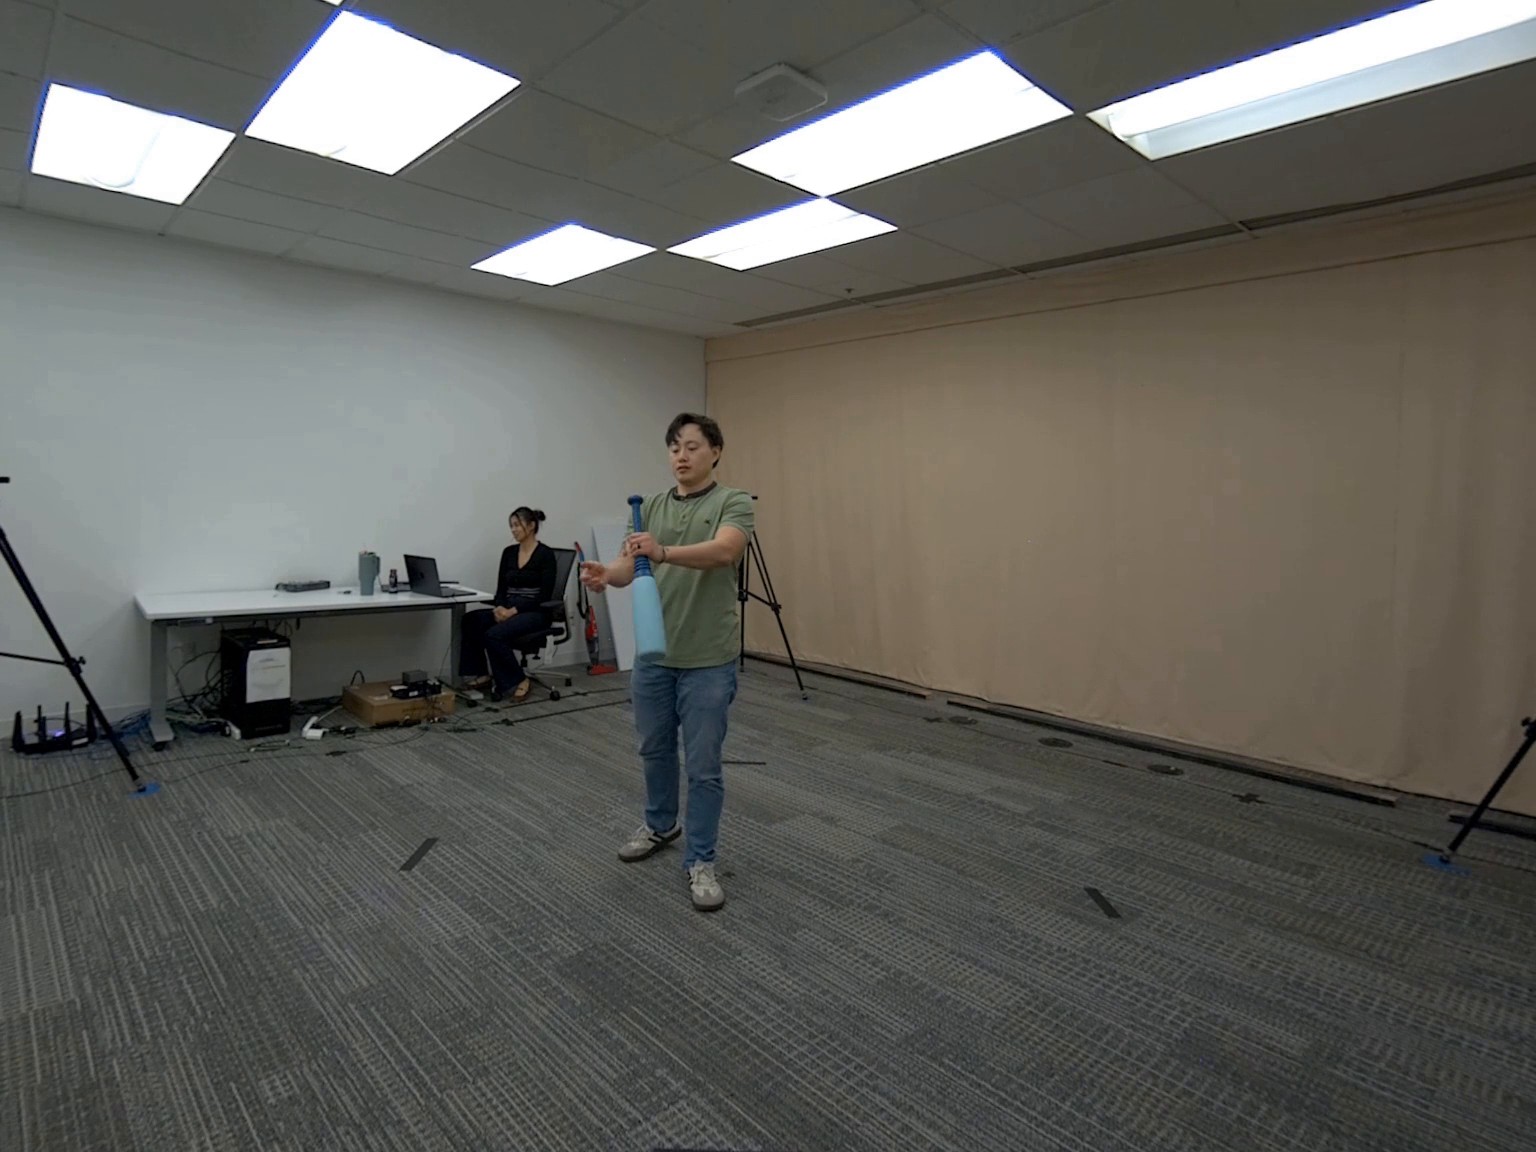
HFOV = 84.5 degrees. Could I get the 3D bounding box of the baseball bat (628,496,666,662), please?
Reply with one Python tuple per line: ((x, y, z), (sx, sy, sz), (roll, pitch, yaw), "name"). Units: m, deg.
((-0.392, -0.002, 2.552), (0.089, 0.554, 0.087), (-7, -27, -5), "baseball bat")
